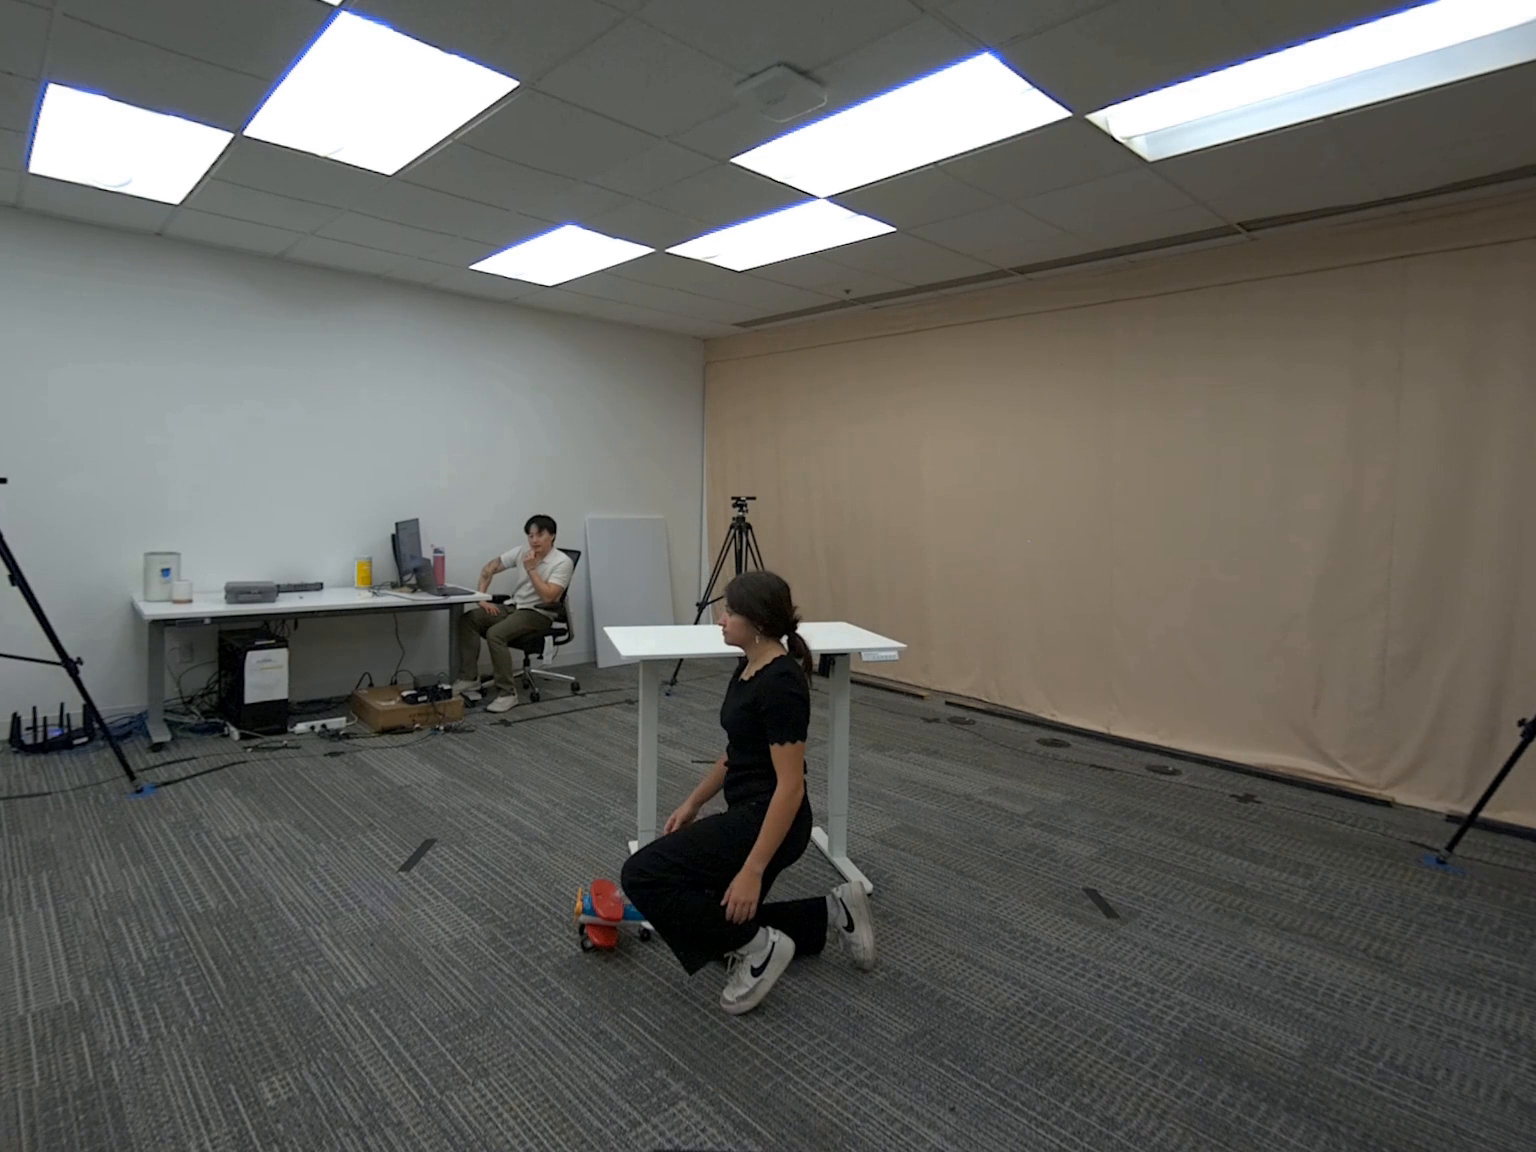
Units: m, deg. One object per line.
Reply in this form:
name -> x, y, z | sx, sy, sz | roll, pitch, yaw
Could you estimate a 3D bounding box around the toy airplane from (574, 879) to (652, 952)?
toy airplane -> -0.490, 1.066, 2.643 | 0.253, 0.156, 0.258 | -5, 8, -43
